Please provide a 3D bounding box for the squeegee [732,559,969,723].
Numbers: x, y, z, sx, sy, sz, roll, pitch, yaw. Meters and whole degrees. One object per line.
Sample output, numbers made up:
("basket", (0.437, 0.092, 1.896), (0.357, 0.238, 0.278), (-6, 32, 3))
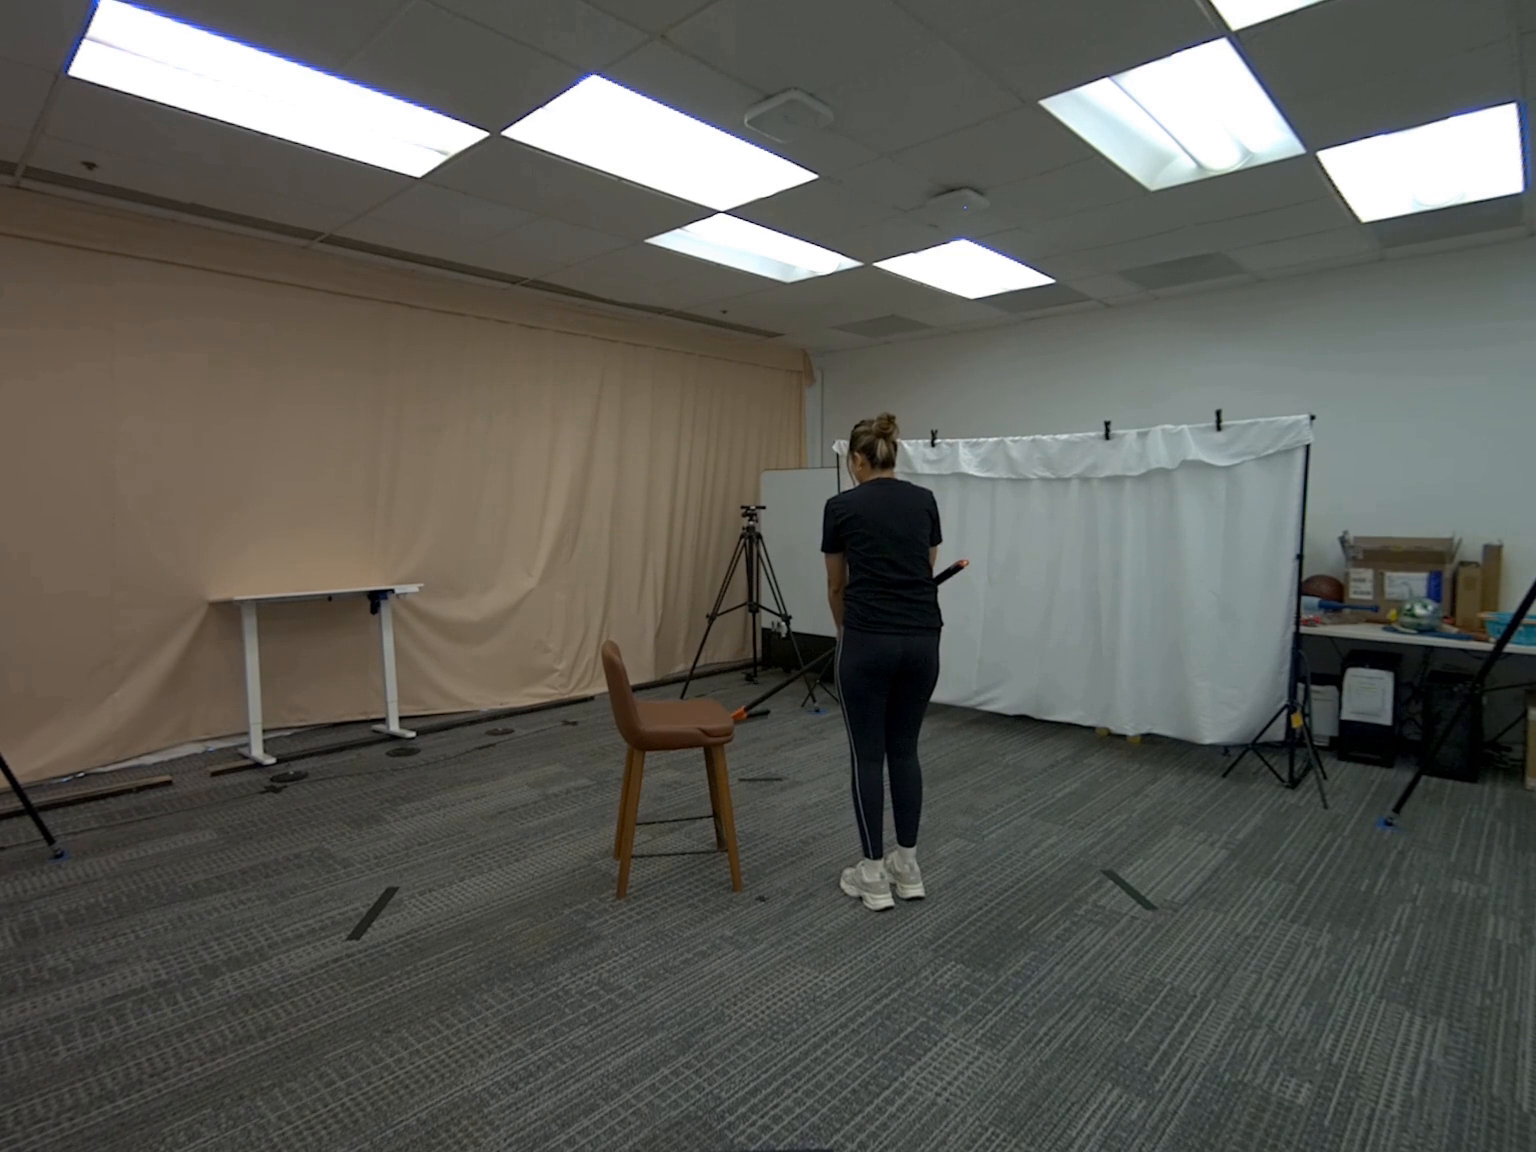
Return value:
("squeegee", (0.248, 0.311, 3.488), (0.424, 0.054, 1.555), (0, -28, -40))
